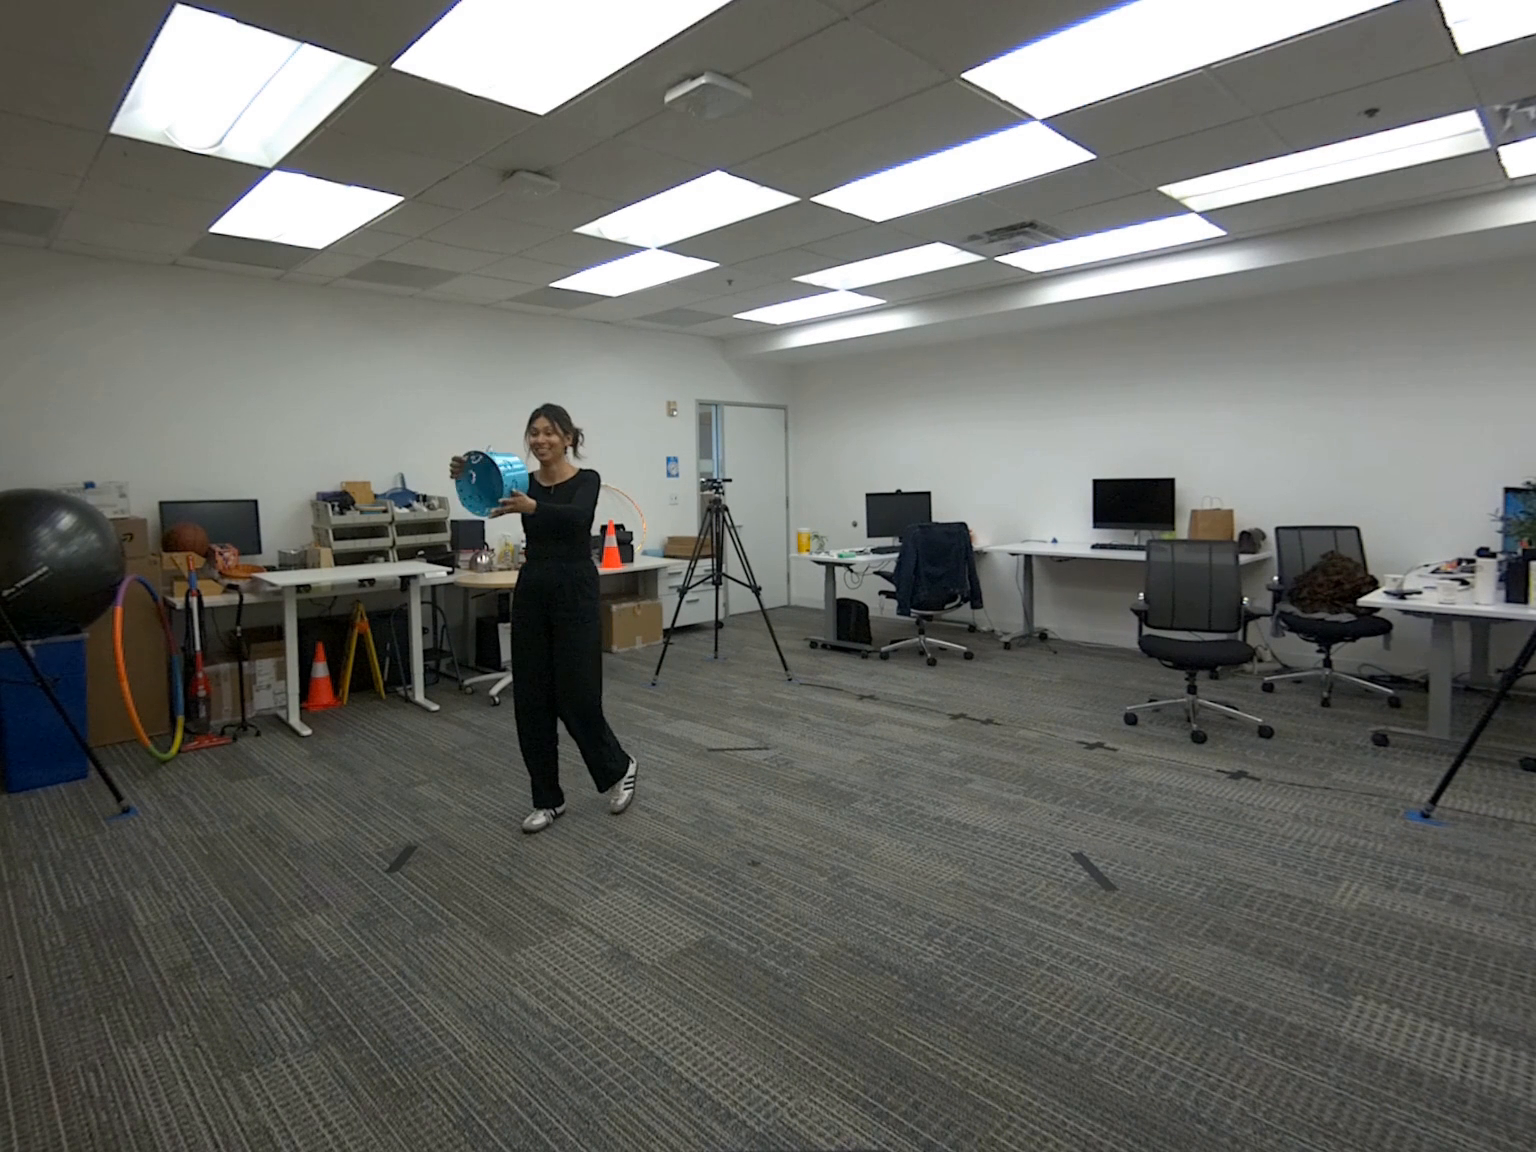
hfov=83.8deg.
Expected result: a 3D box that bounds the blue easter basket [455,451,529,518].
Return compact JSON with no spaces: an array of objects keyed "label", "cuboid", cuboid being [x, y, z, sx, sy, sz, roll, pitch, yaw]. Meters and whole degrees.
[{"label":"blue easter basket","cuboid":[-0.972,-0.338,3.001,0.250,0.242,0.153,2,10,29]}]
